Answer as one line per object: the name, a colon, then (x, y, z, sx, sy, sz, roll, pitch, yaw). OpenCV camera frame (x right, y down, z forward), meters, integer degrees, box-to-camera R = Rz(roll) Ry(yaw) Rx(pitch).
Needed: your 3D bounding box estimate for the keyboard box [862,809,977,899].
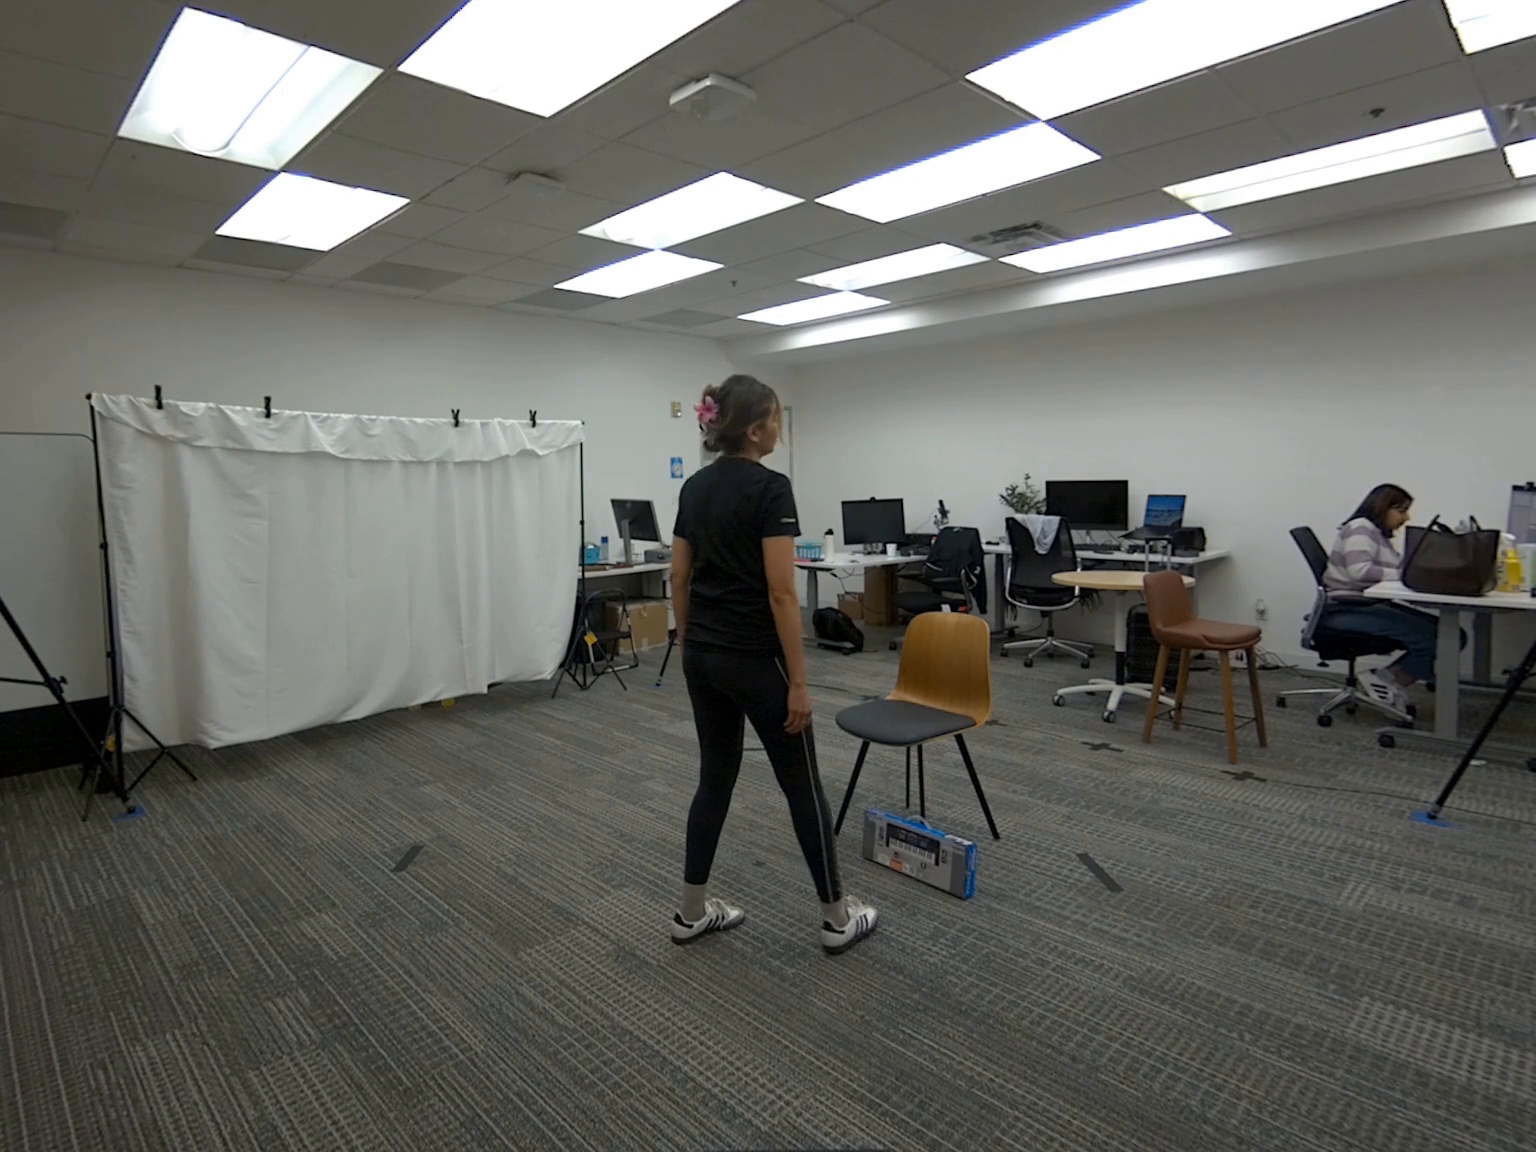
keyboard box: (0.524, 0.964, 2.990, 0.057, 0.176, 0.450, 5, 0, -42)
